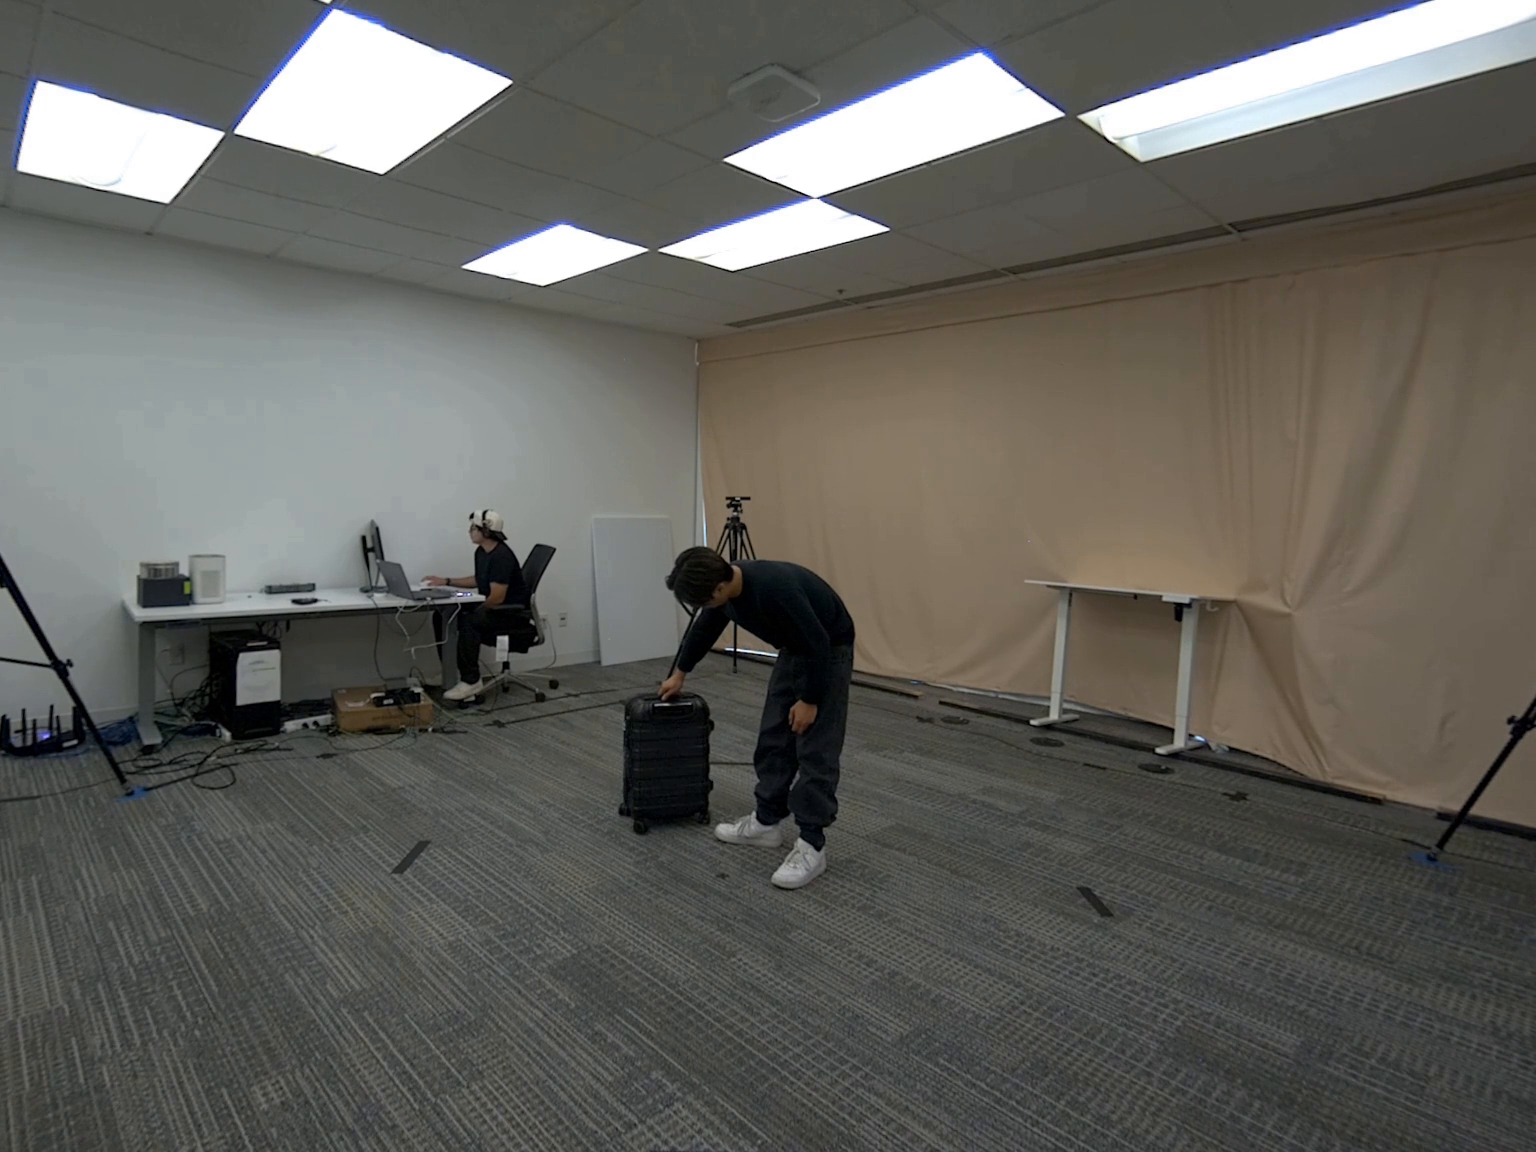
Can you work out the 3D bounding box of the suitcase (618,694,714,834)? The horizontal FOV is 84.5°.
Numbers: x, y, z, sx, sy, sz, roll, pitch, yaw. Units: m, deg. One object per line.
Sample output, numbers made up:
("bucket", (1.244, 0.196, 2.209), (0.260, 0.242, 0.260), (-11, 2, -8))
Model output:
("suitcase", (-0.454, 0.775, 3.634), (0.370, 0.548, 0.252), (0, 3, -18))
